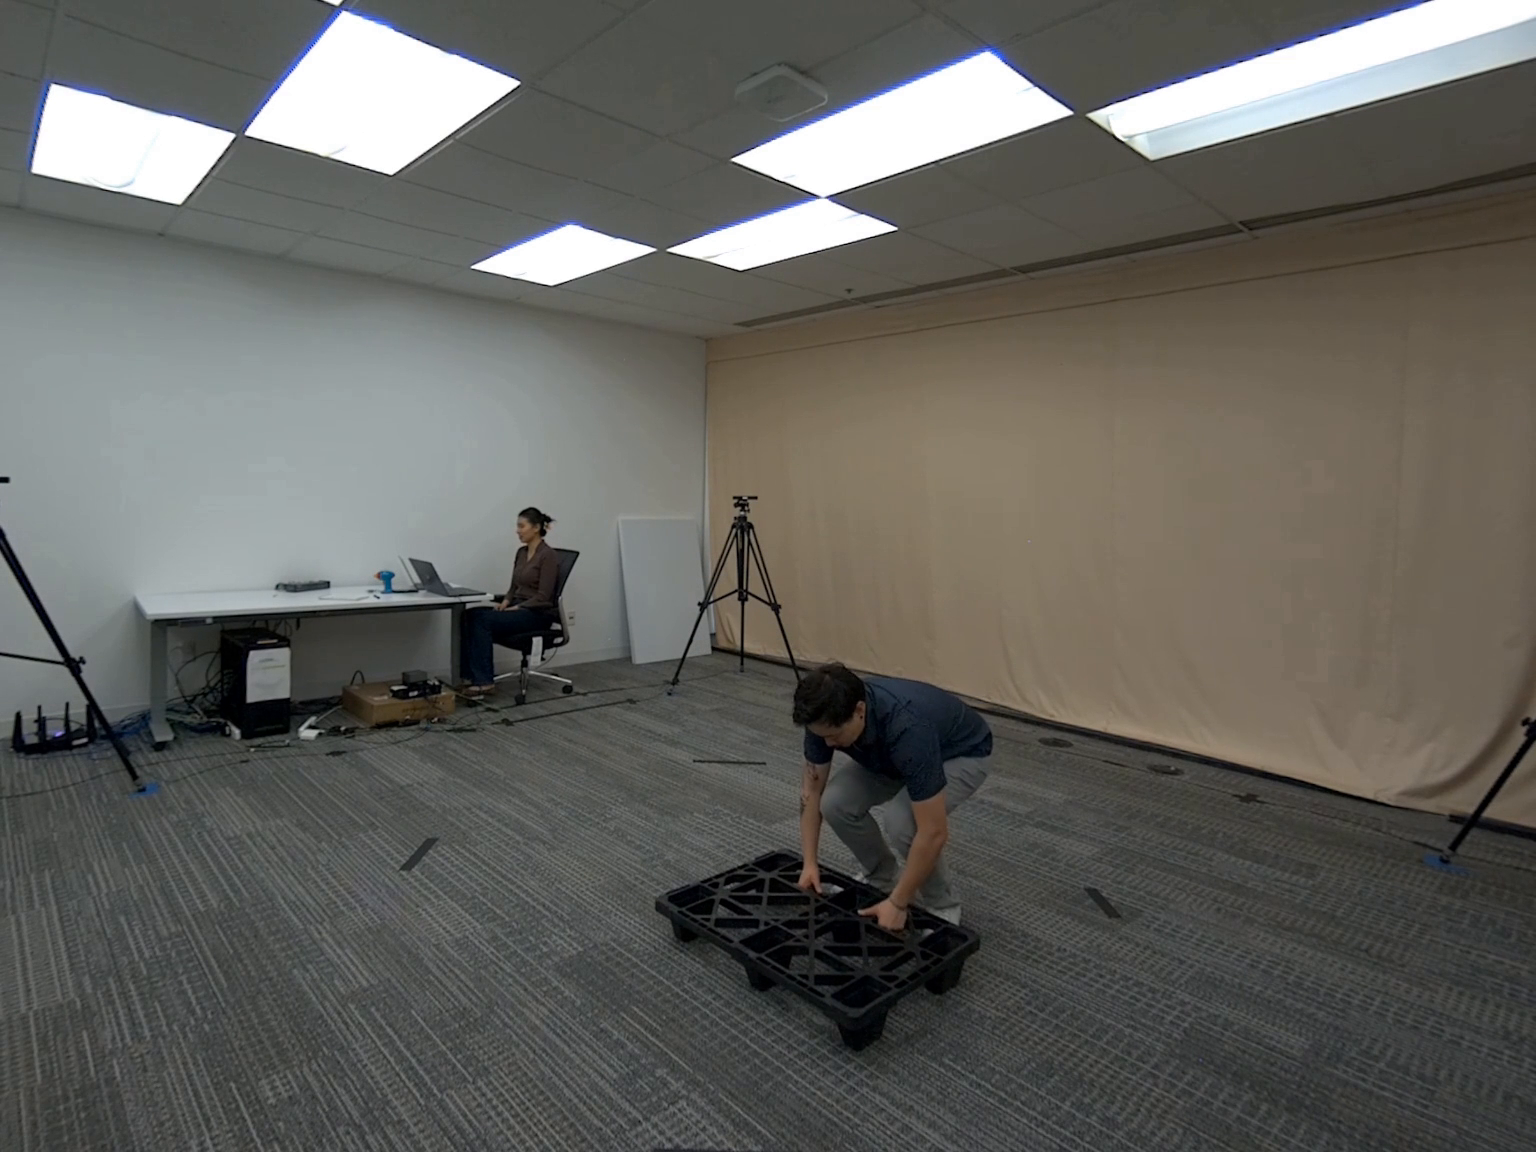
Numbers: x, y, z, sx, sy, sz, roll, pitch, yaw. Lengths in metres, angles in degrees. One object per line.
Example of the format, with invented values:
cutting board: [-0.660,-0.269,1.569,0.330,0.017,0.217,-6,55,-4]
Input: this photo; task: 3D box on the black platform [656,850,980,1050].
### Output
black platform: [0.122,1.094,2.537,0.592,0.143,0.826,-5,8,-44]
